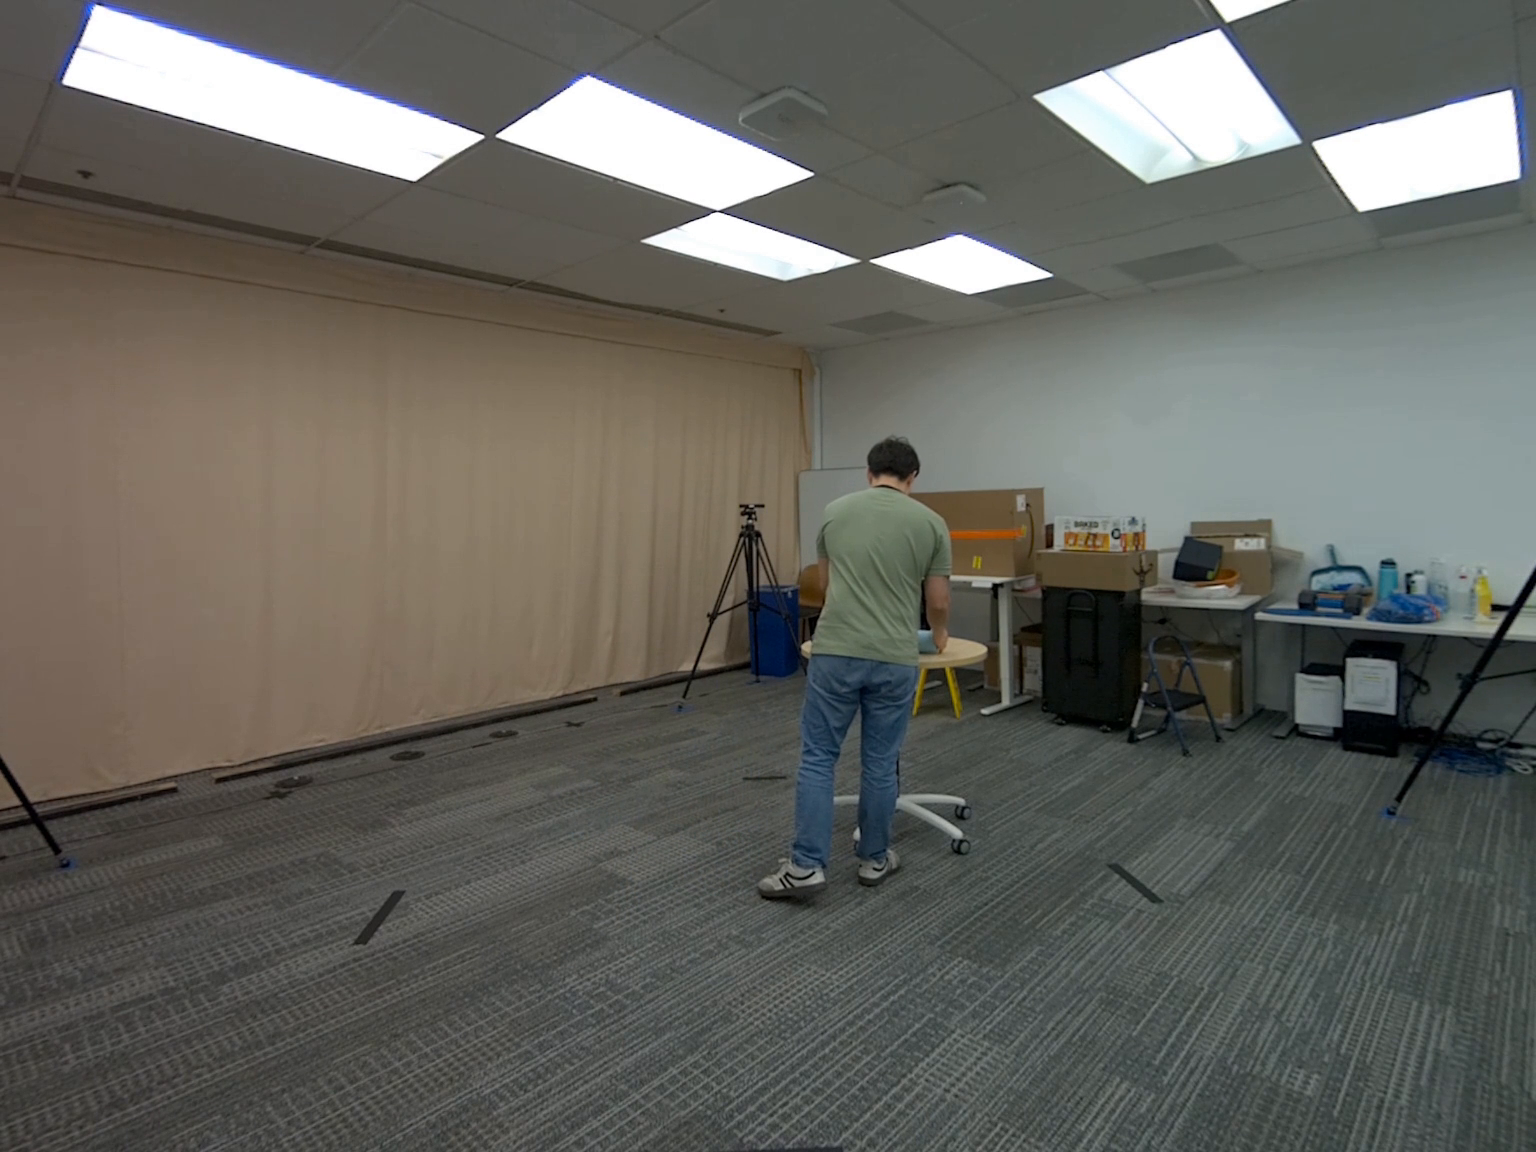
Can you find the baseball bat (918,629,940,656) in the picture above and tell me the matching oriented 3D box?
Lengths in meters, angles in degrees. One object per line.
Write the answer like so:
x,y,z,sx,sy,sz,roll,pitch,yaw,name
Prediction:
0.433,0.267,3.485,0.557,0.089,0.087,-1,3,28,baseball bat
